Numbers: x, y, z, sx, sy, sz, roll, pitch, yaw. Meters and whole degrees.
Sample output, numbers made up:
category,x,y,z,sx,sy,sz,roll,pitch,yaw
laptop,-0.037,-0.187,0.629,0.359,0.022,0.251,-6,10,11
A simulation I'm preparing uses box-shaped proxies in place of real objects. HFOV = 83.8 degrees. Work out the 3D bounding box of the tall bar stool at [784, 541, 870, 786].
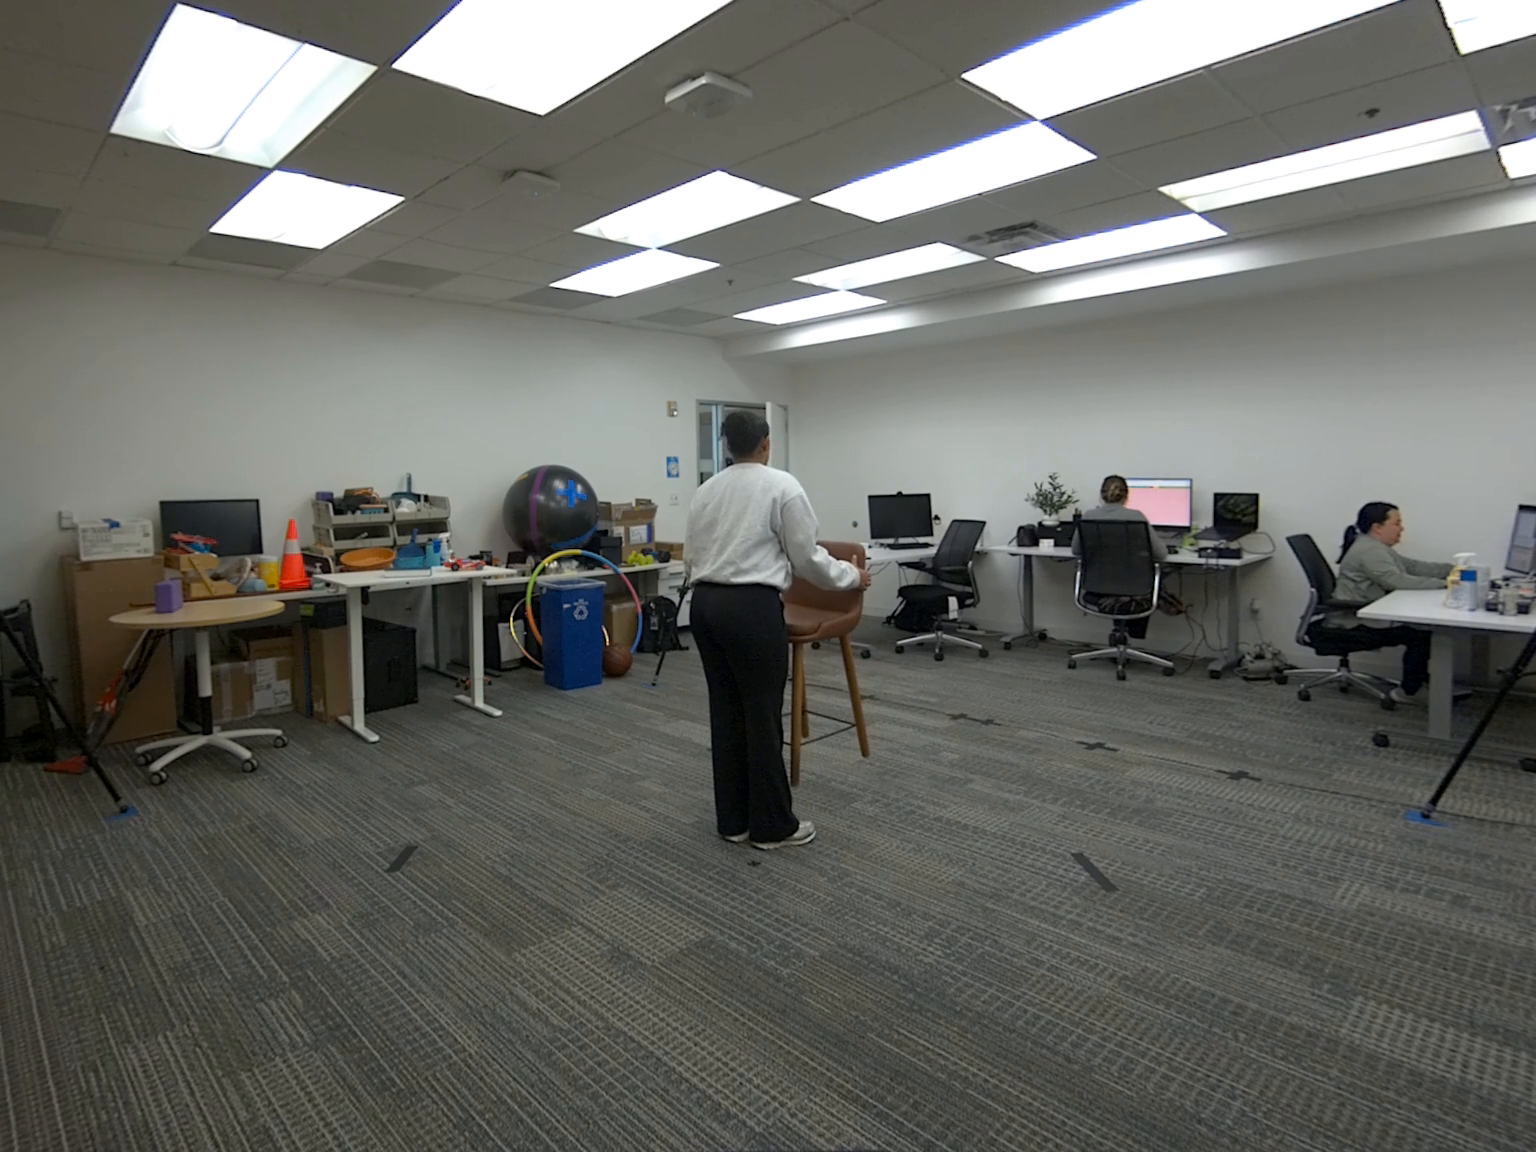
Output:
category,x,y,z,sx,sy,sz,roll,pitch,yaw
tall bar stool,0.124,0.324,3.465,0.455,0.886,0.470,-5,6,-41
